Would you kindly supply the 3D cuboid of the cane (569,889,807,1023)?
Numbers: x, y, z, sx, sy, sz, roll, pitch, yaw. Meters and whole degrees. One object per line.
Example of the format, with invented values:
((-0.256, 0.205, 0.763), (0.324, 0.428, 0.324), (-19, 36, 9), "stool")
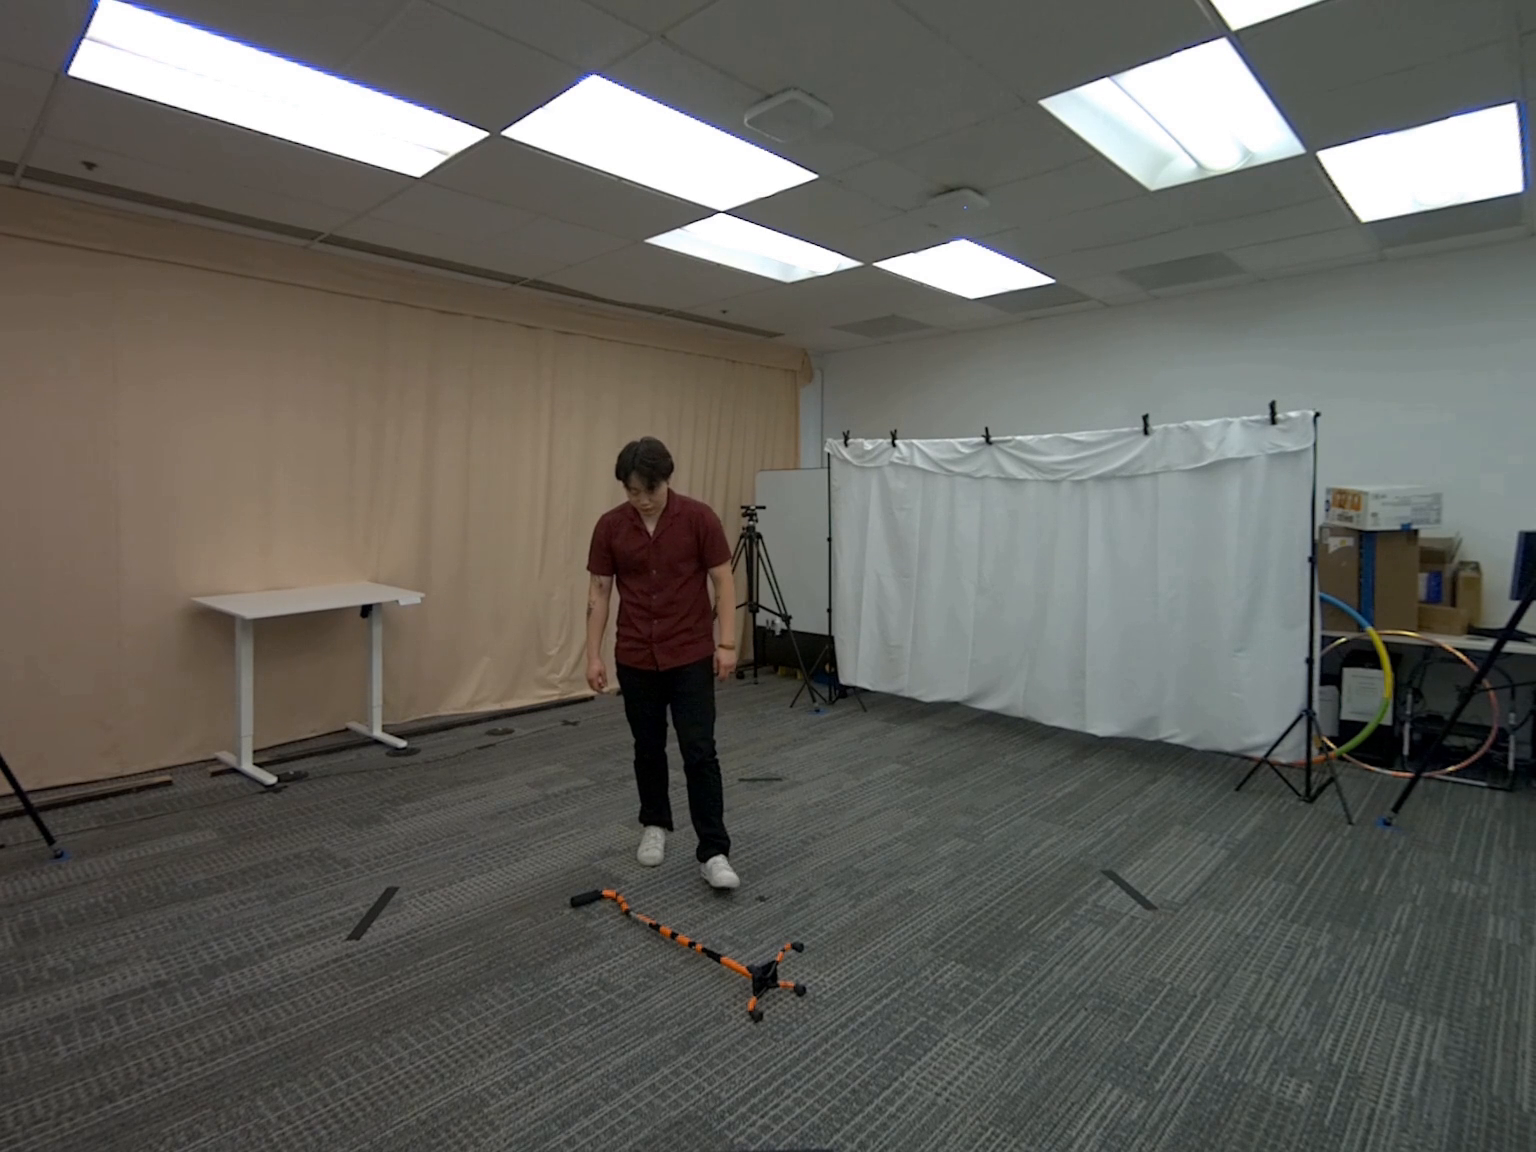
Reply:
((-0.292, 1.121, 2.652), (0.937, 0.151, 0.200), (0, 3, 45), "cane")
